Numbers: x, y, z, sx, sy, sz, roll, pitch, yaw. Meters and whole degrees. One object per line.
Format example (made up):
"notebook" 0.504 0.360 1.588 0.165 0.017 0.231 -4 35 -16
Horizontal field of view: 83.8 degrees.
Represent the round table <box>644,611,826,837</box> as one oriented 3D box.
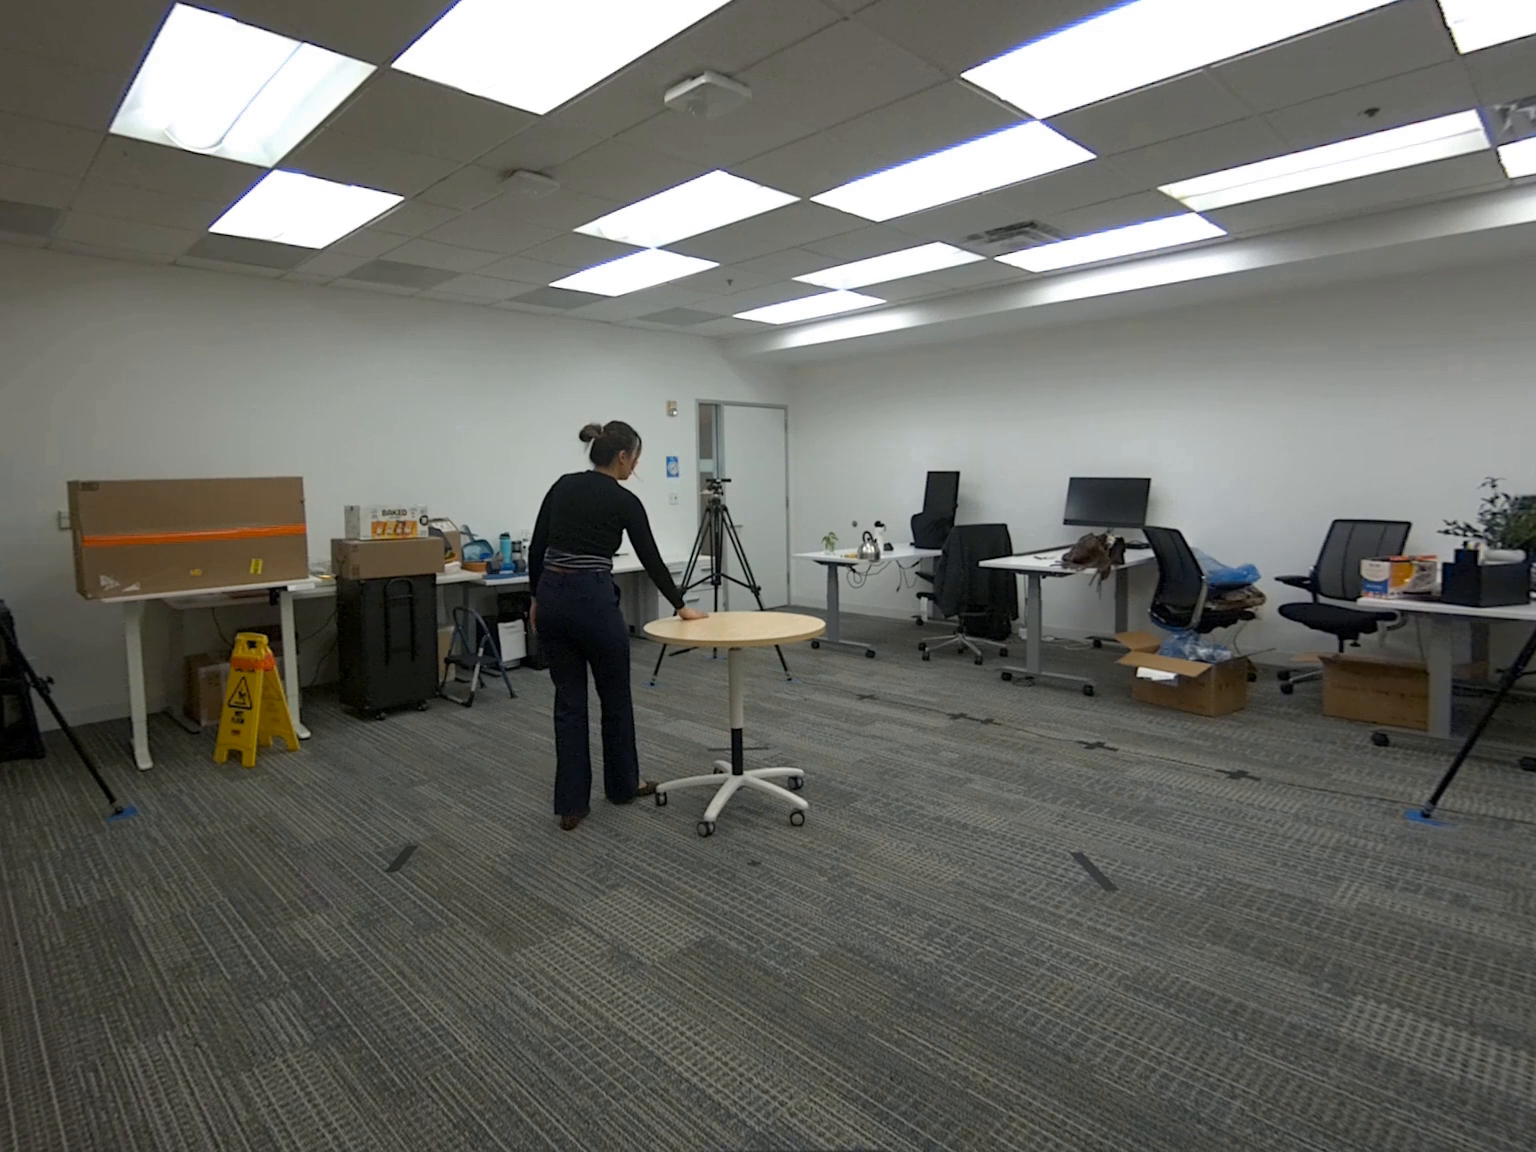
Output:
"round table" -0.132 0.598 3.630 0.763 0.791 0.767 -2 4 -2
